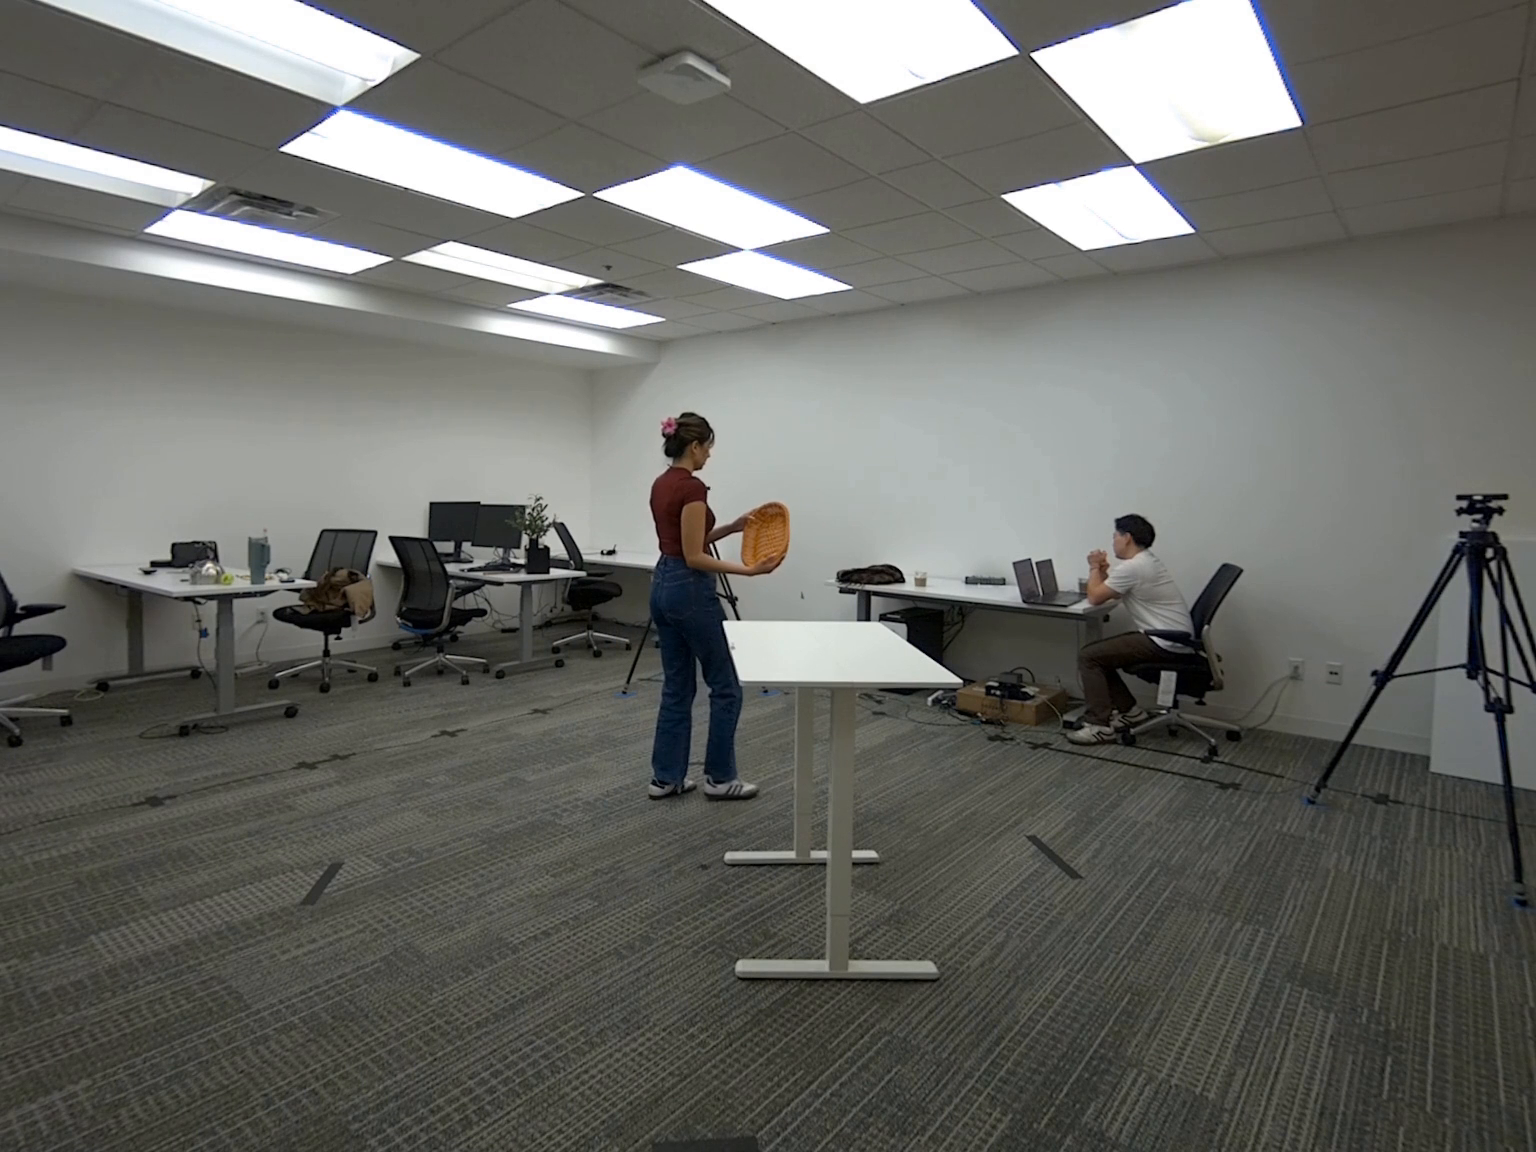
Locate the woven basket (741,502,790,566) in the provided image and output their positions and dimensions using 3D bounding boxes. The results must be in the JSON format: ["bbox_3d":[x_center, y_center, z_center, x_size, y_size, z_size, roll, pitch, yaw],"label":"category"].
[{"bbox_3d":[-0.006,-0.166,3.761,0.259,0.356,0.070,-8,-32,36],"label":"woven basket"}]
